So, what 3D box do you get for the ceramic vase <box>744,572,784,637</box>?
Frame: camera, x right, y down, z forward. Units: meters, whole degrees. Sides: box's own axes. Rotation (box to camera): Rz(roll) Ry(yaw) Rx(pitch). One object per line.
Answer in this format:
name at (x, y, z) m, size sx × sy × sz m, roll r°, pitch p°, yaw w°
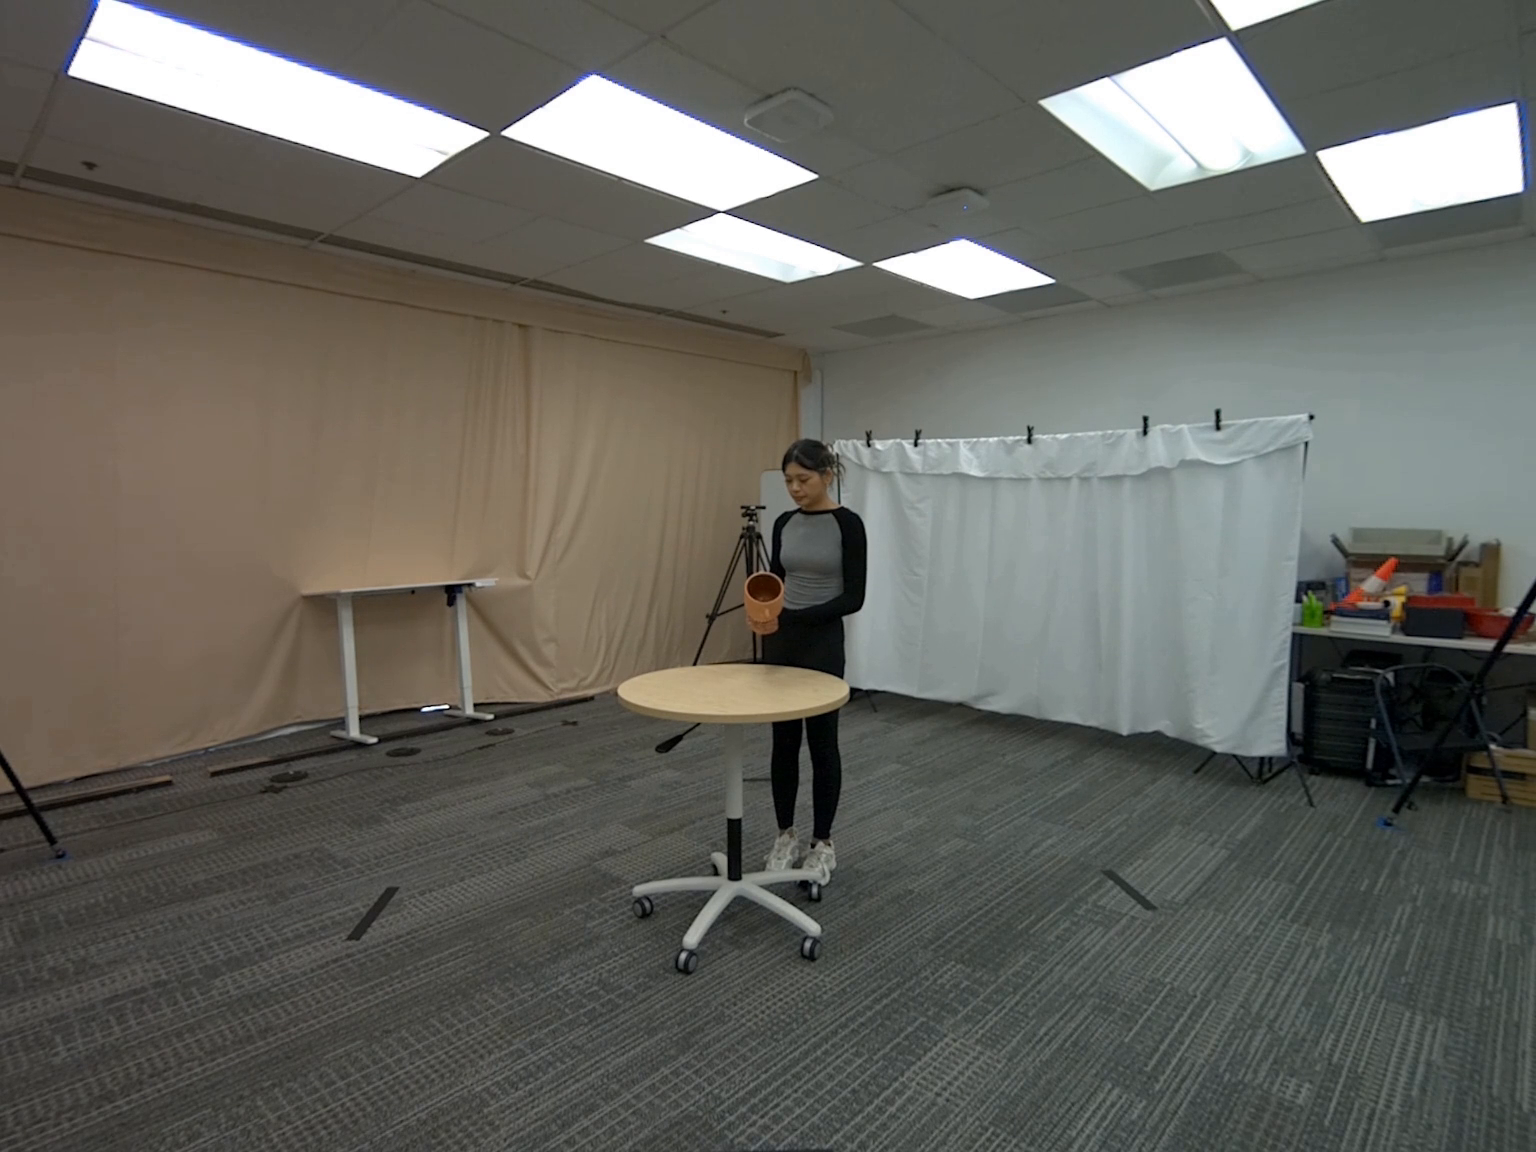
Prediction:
ceramic vase at (-0.007, 0.104, 2.931) m, size 0.138 × 0.215 × 0.158 m, roll 28°, pitch 58°, yaw 21°
